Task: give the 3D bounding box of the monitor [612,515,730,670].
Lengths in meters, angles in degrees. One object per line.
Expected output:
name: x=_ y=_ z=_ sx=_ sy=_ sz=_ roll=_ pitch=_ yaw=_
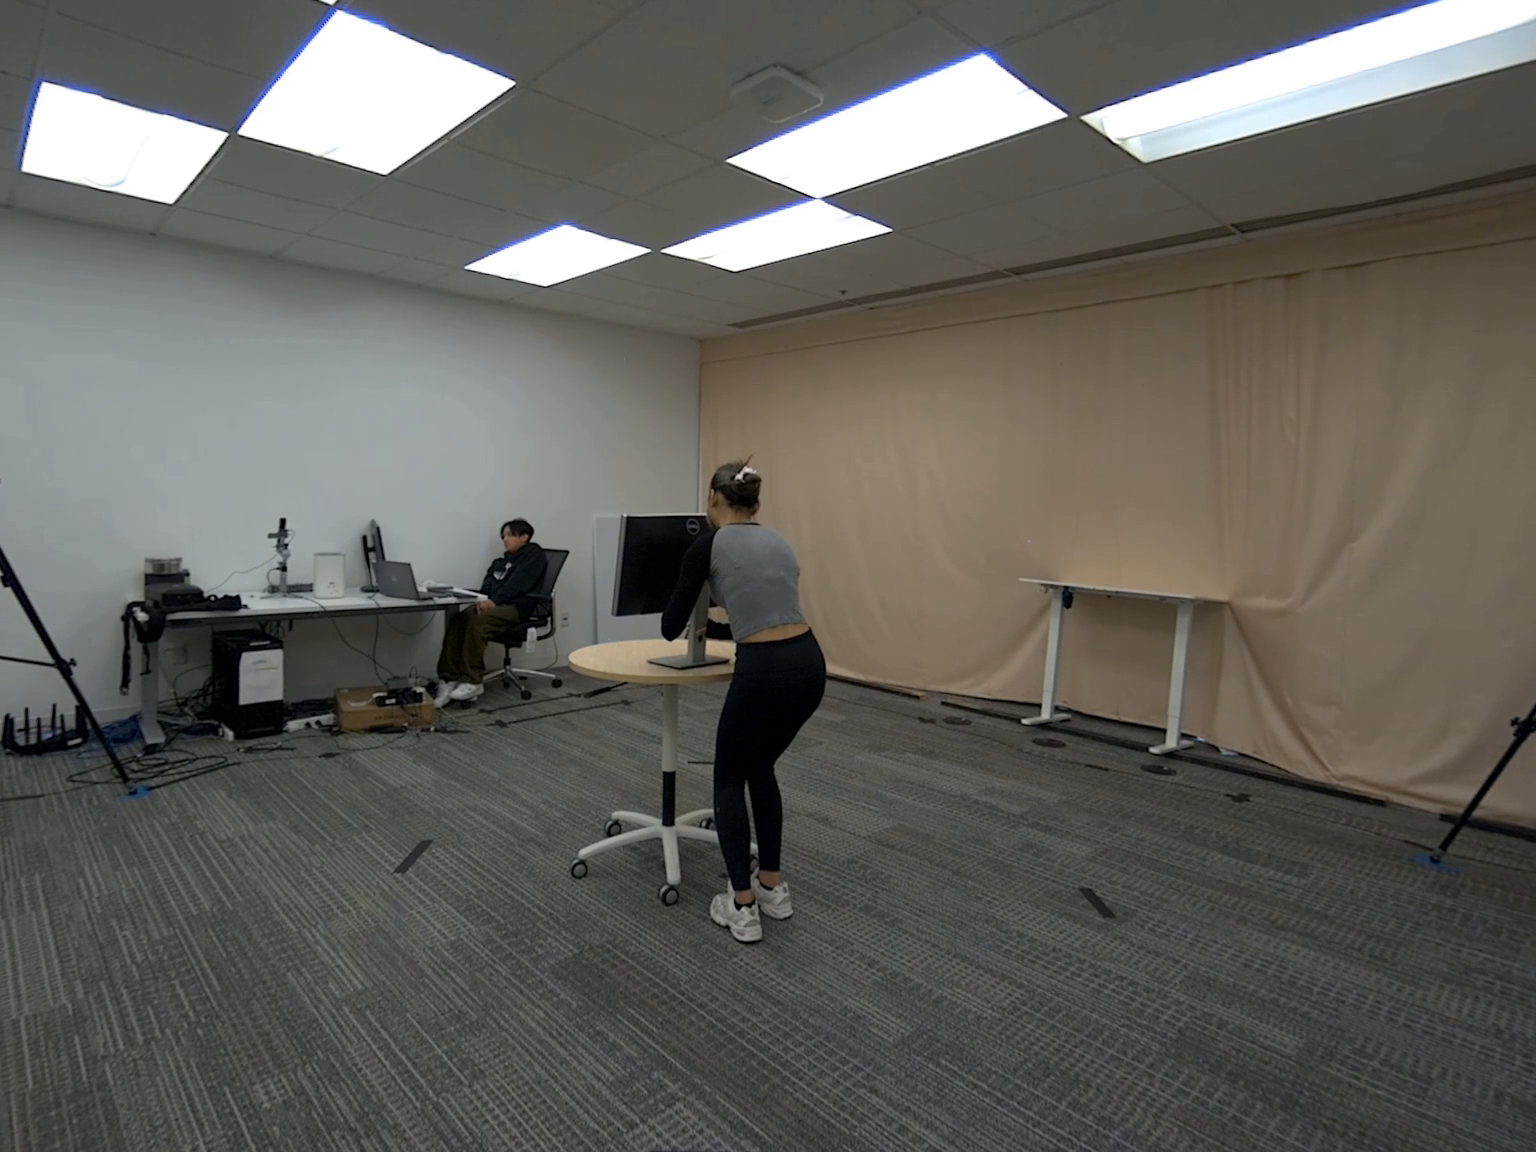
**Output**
monitor: x=-0.289 y=0.048 z=3.045 sx=0.527 sy=0.522 sz=0.191 roll=-3 pitch=3 yaw=-43
